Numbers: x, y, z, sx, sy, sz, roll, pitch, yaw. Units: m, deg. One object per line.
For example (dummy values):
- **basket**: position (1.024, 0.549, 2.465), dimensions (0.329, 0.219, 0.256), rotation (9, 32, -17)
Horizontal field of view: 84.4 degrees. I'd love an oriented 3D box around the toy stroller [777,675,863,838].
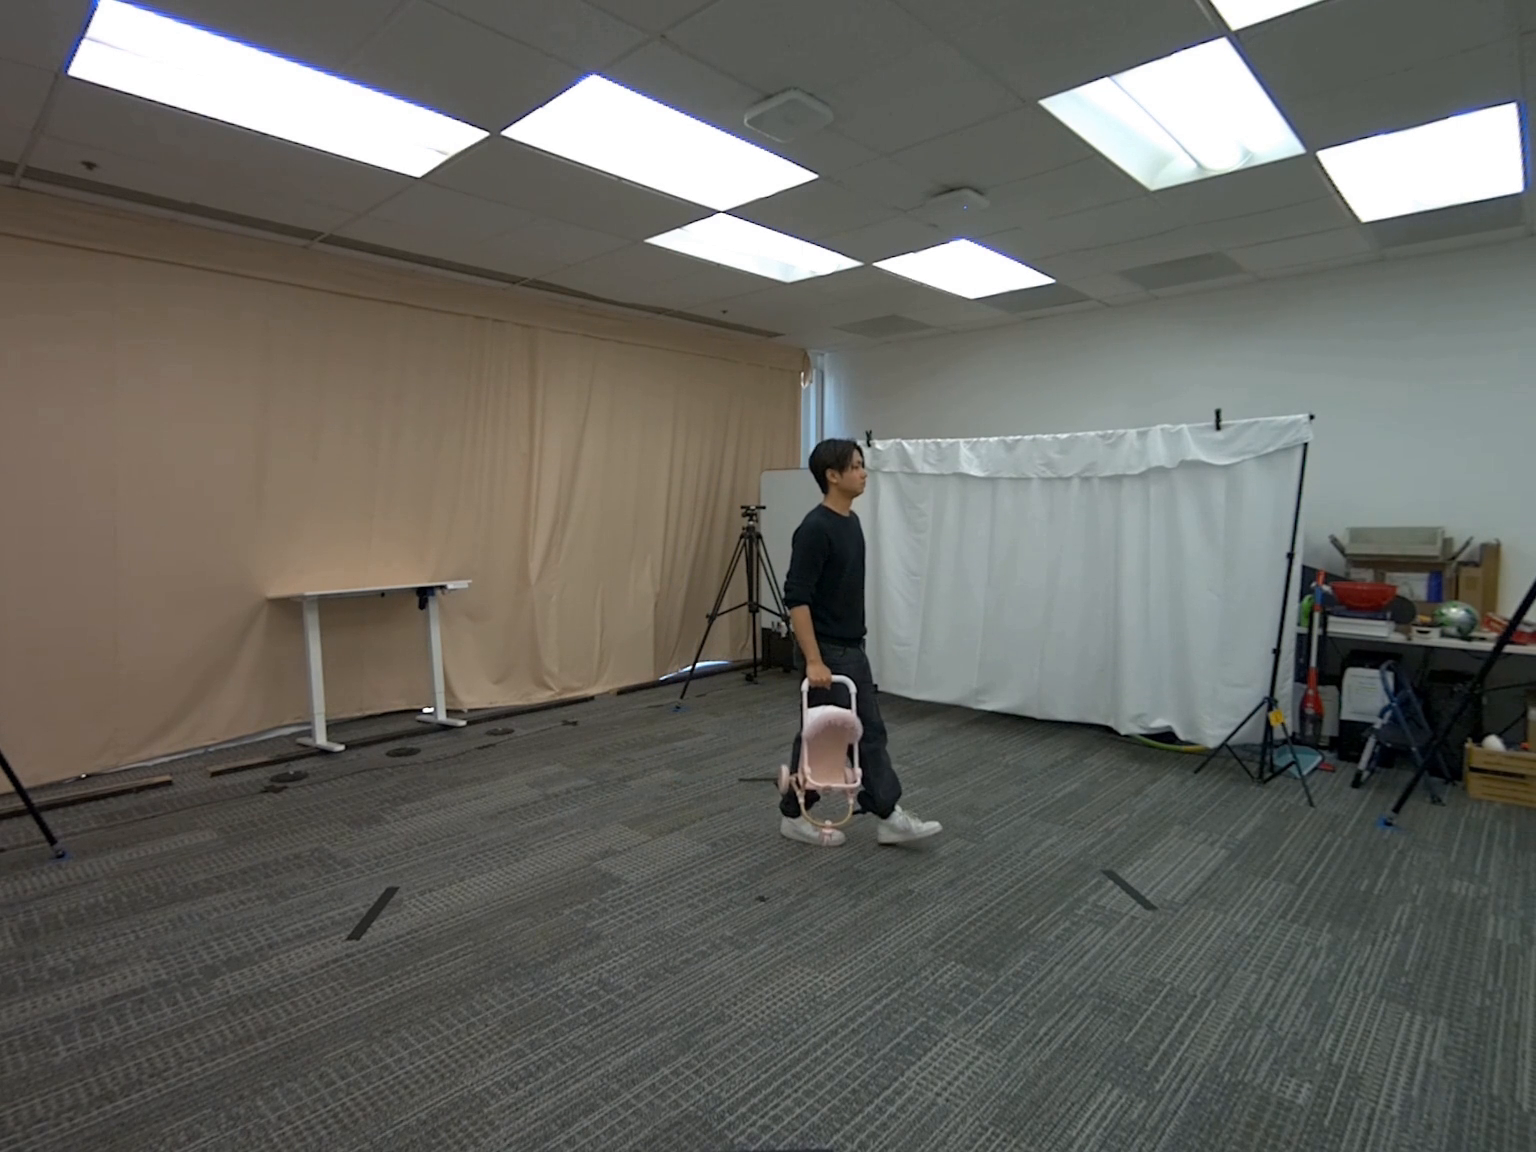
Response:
- **toy stroller**: position (0.213, 0.683, 3.094), dimensions (0.280, 0.530, 0.346), rotation (5, 20, -5)
